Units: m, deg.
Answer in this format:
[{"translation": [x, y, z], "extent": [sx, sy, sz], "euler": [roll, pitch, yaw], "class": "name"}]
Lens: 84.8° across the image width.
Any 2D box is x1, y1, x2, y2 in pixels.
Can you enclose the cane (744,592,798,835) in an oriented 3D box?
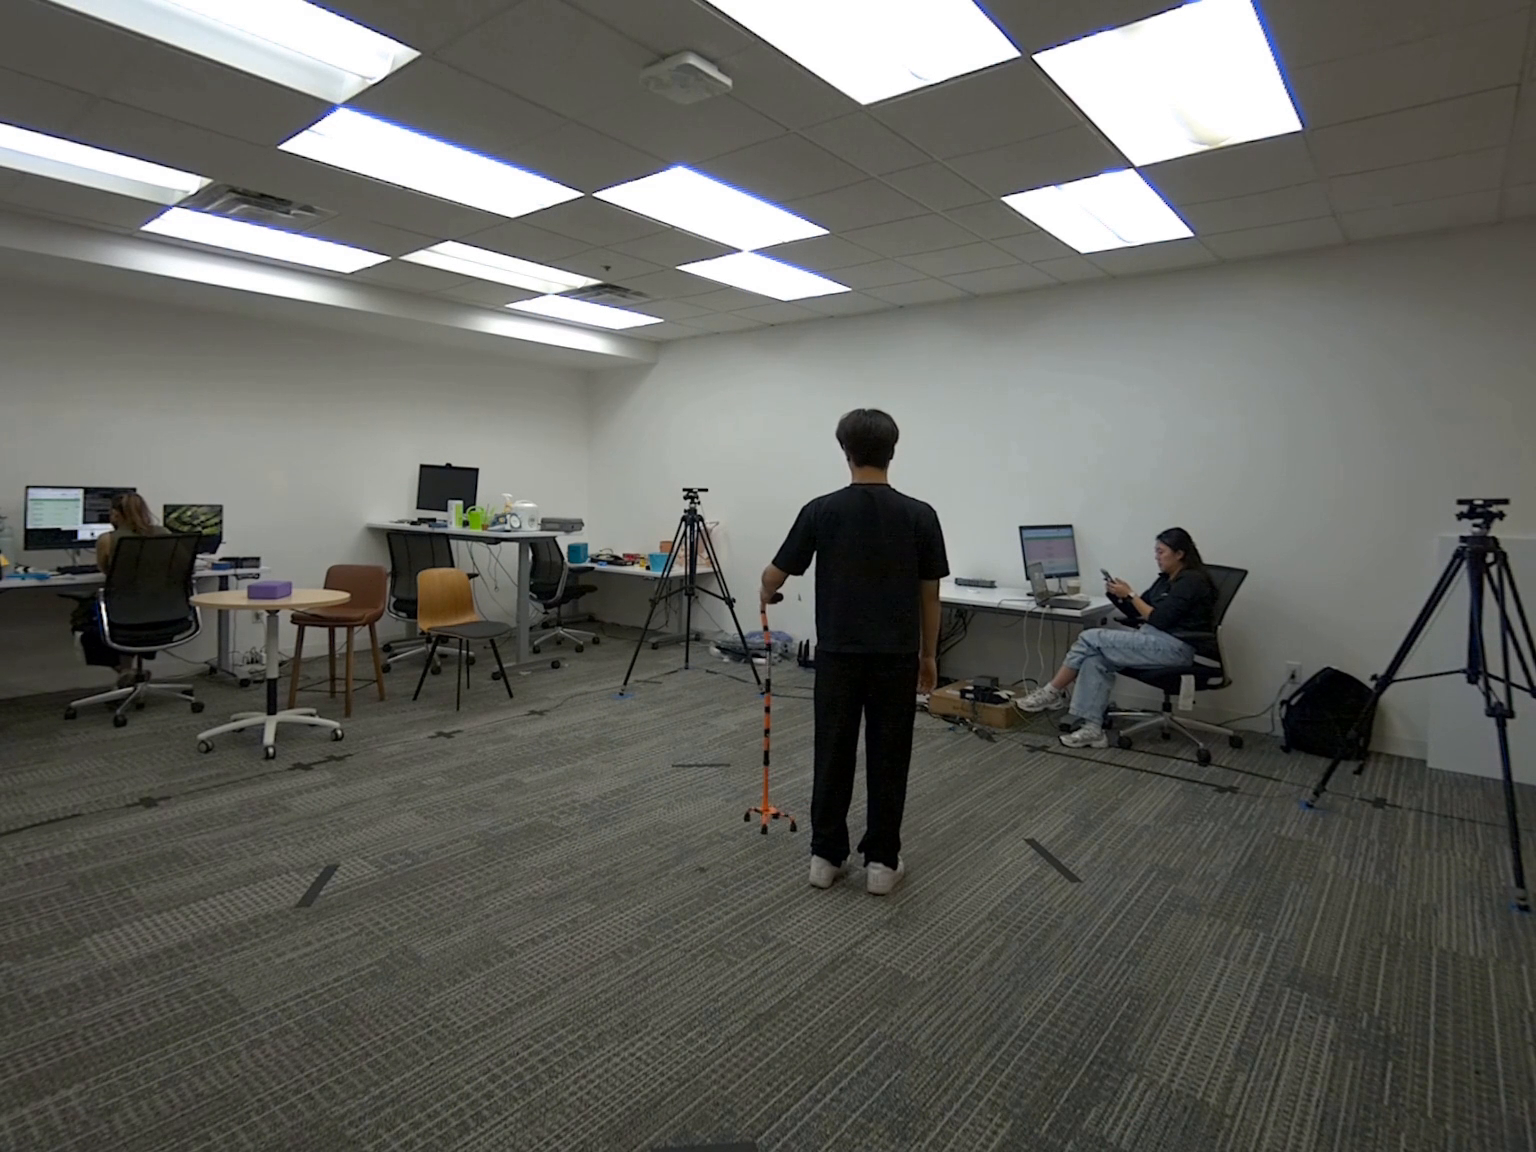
[{"translation": [0.009, 0.519, 3.354], "extent": [0.148, 0.910, 0.210], "euler": [1, -3, -20], "class": "cane"}]
